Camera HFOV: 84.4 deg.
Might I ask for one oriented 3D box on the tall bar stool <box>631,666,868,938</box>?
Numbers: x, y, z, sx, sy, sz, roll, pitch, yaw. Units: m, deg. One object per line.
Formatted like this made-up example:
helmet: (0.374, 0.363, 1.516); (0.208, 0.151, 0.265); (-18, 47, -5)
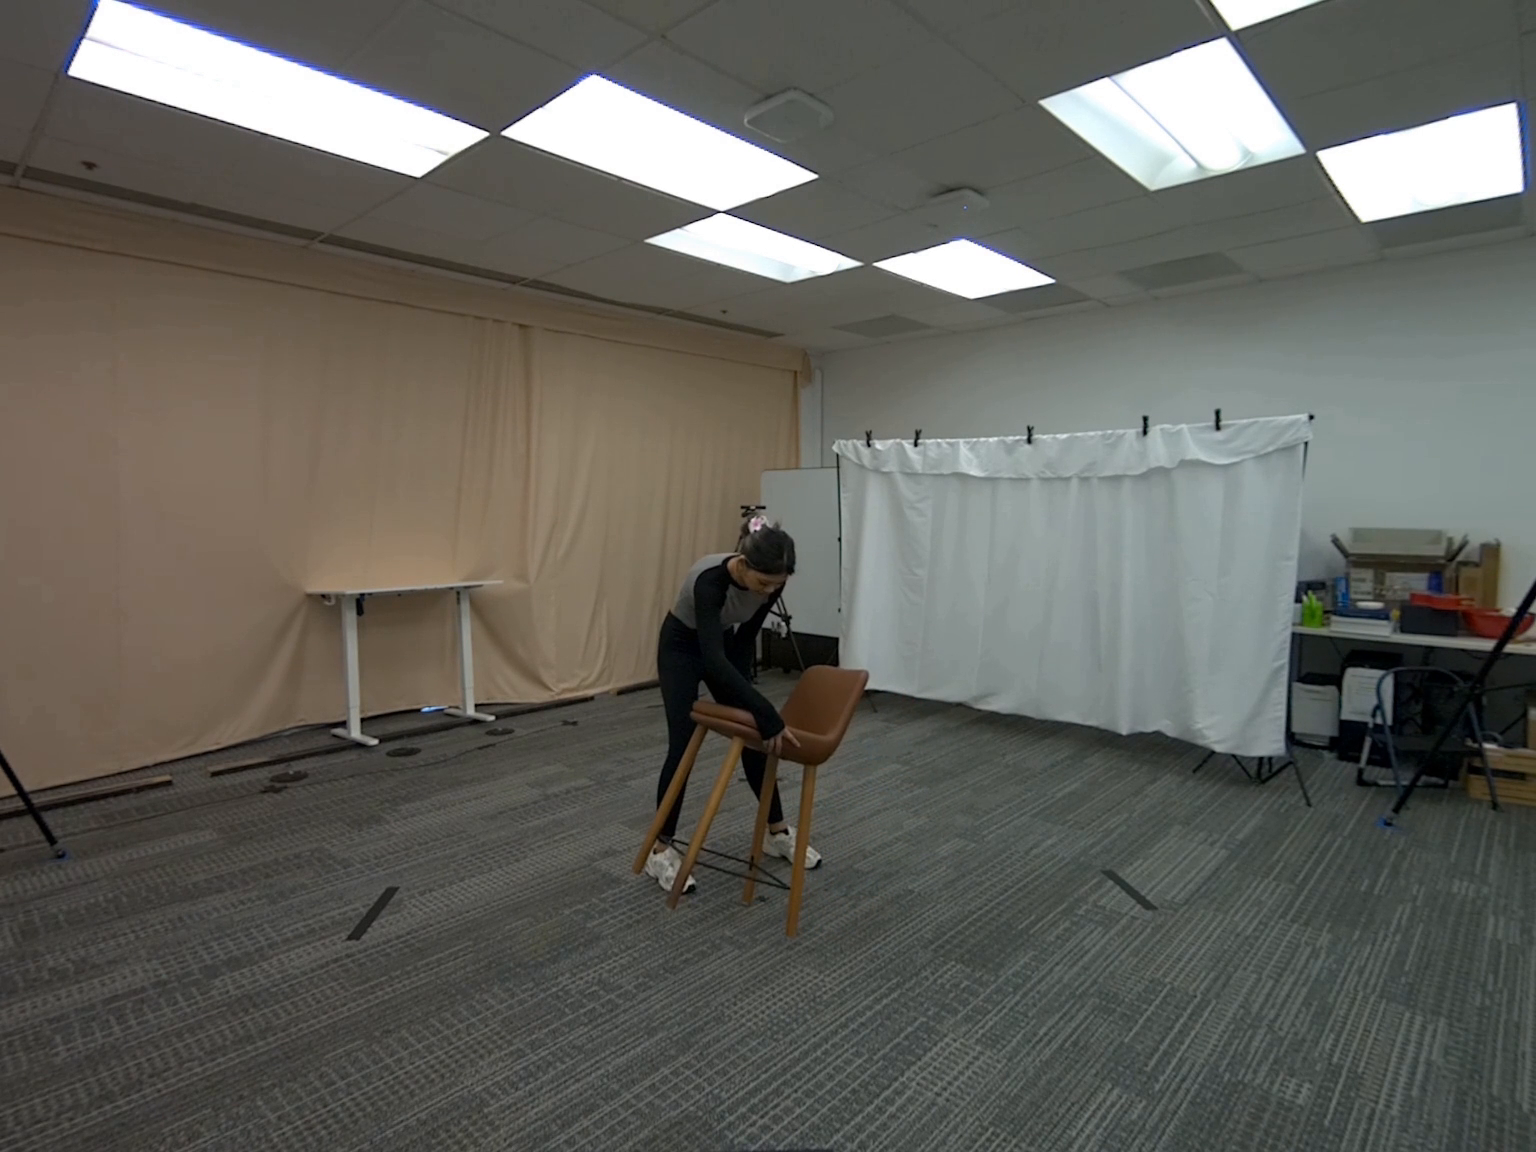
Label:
tall bar stool: (-0.050, 0.668, 2.794); (0.457, 0.892, 0.466); (22, -13, -21)
